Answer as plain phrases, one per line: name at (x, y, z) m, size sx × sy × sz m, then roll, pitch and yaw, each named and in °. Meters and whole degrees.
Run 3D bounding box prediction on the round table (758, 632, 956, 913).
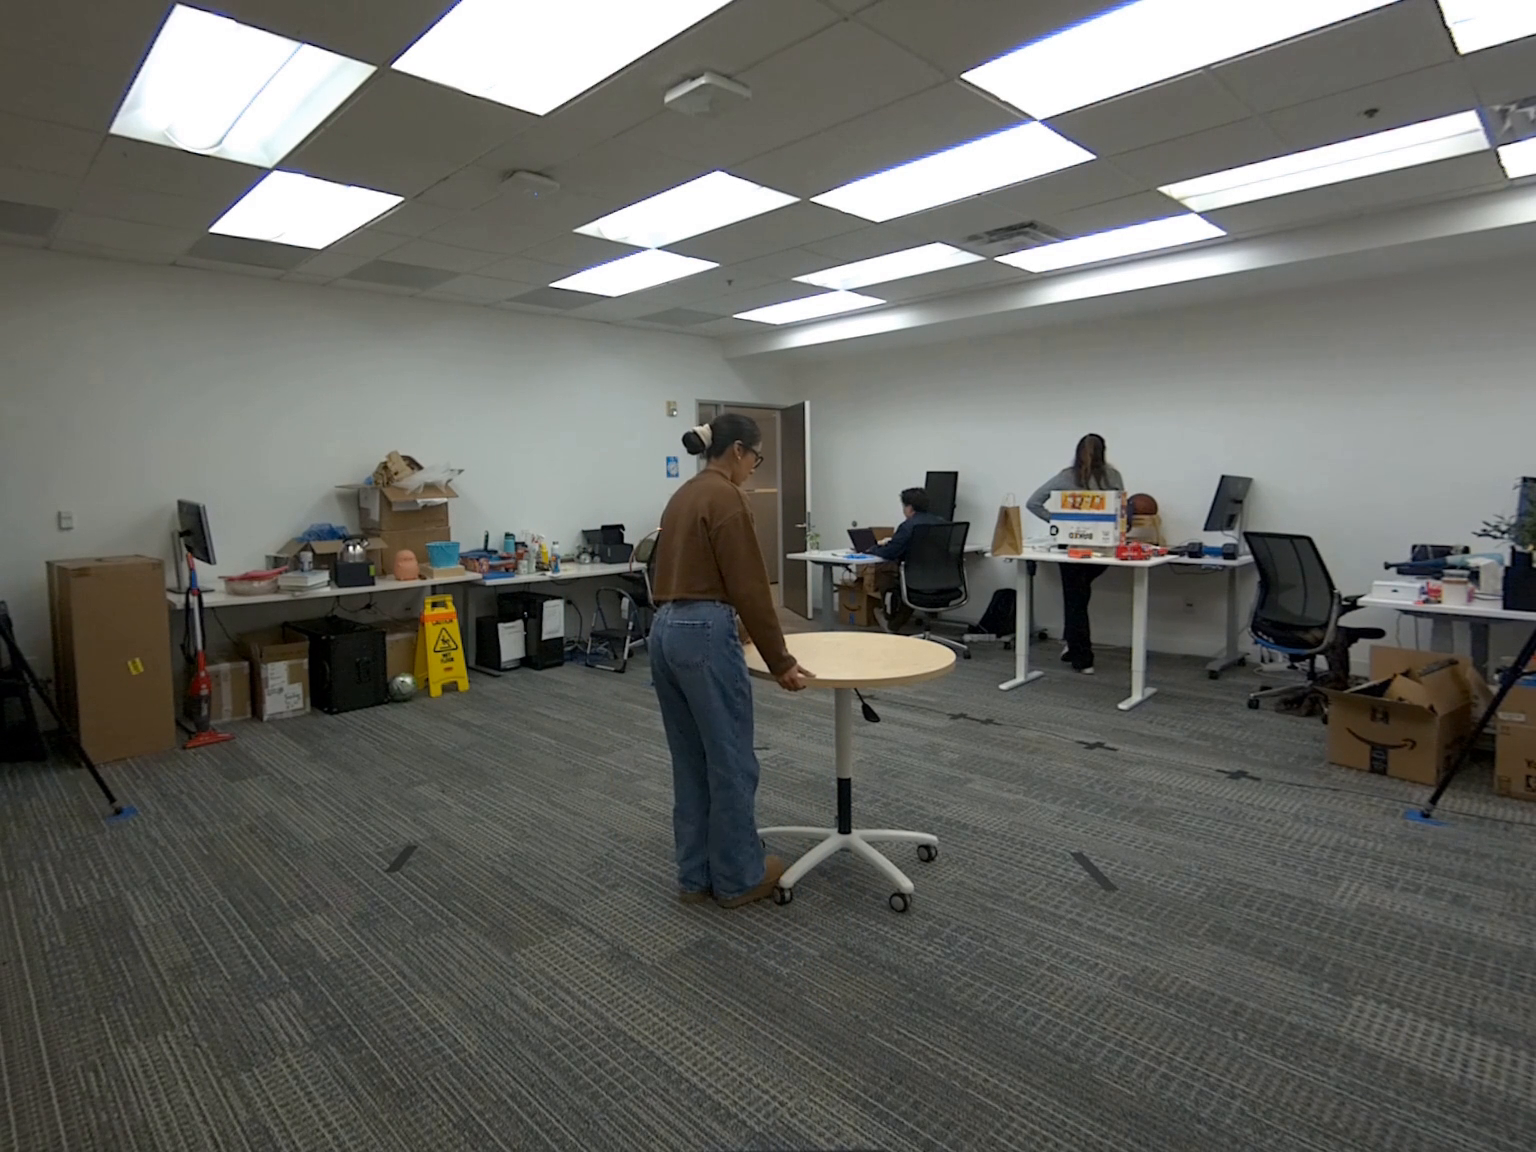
round table at (0.268, 0.660, 3.013) m, size 0.763 × 0.791 × 0.768 m, roll -1°, pitch 5°, yaw -2°
